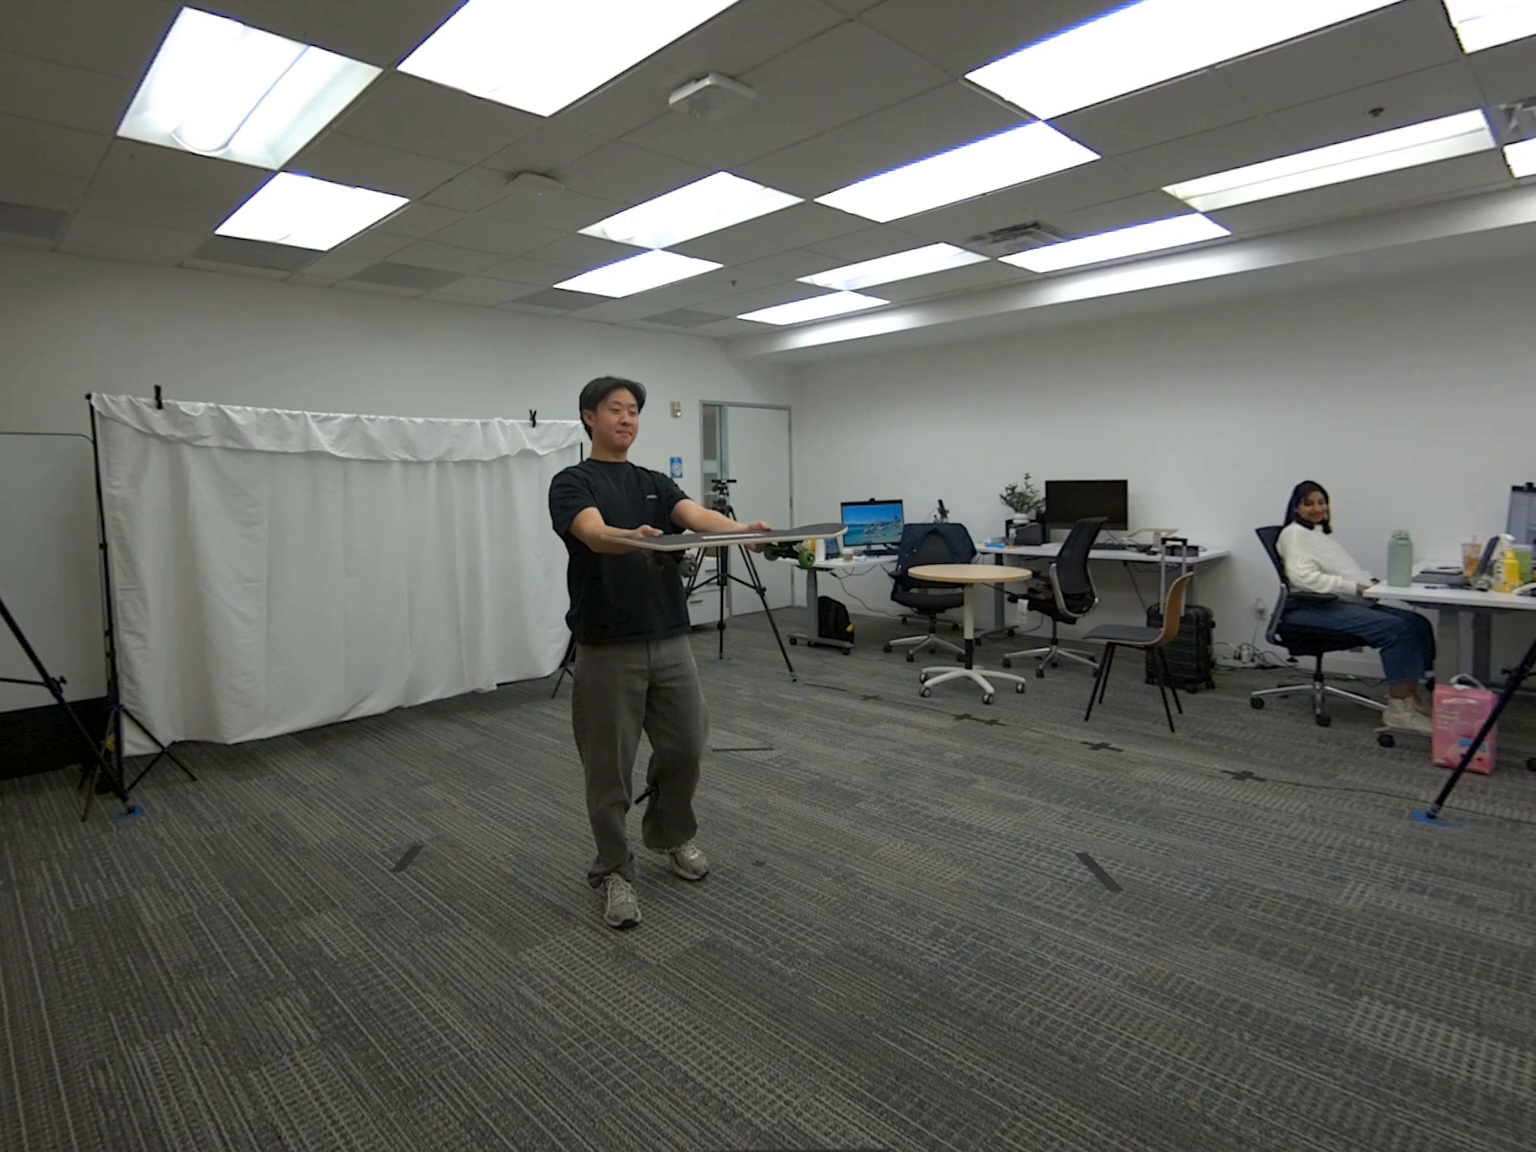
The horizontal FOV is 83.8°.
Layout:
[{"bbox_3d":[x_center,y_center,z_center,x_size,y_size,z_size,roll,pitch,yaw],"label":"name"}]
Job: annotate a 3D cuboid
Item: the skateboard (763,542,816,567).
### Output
[{"bbox_3d":[-0.100,-0.069,2.339,0.766,0.109,0.200,-6,10,-37],"label":"skateboard"}]
